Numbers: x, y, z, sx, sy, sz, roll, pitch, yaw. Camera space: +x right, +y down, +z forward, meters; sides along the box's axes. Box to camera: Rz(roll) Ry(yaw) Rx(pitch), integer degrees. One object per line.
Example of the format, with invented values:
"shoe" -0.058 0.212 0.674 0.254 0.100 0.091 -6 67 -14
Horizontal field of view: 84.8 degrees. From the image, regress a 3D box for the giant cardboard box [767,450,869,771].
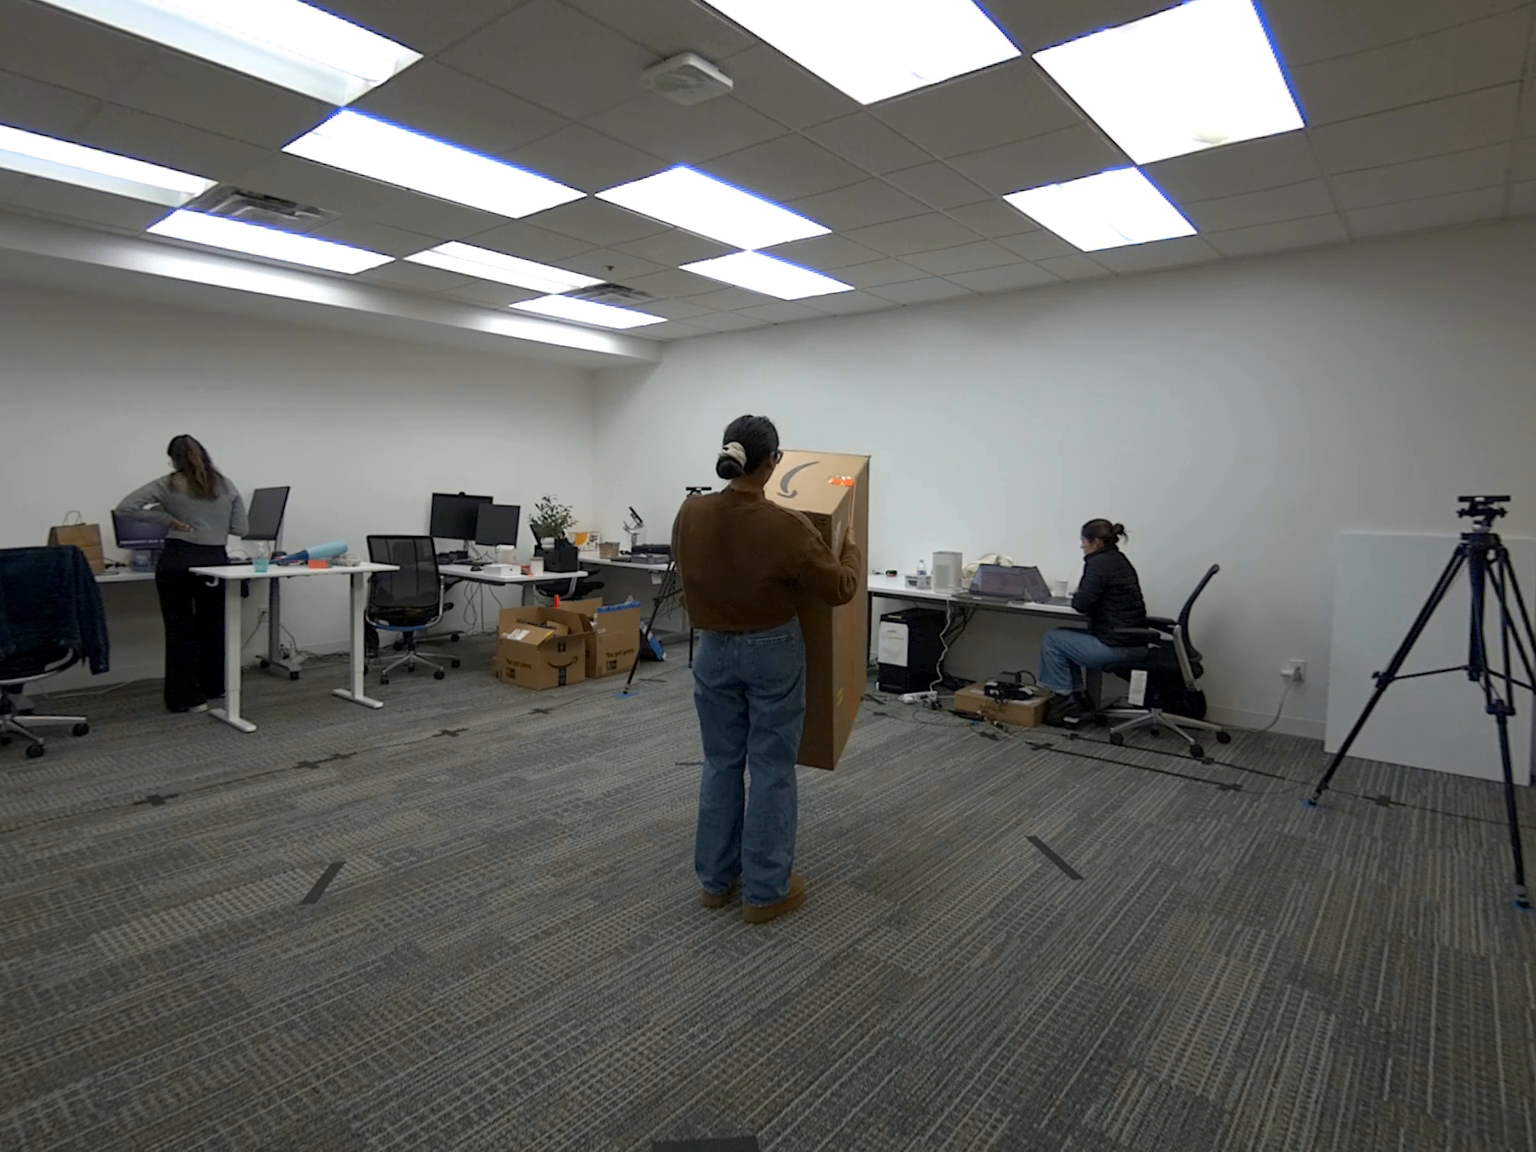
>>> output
"giant cardboard box" 0.109 0.107 3.214 0.436 1.003 0.577 6 26 19
